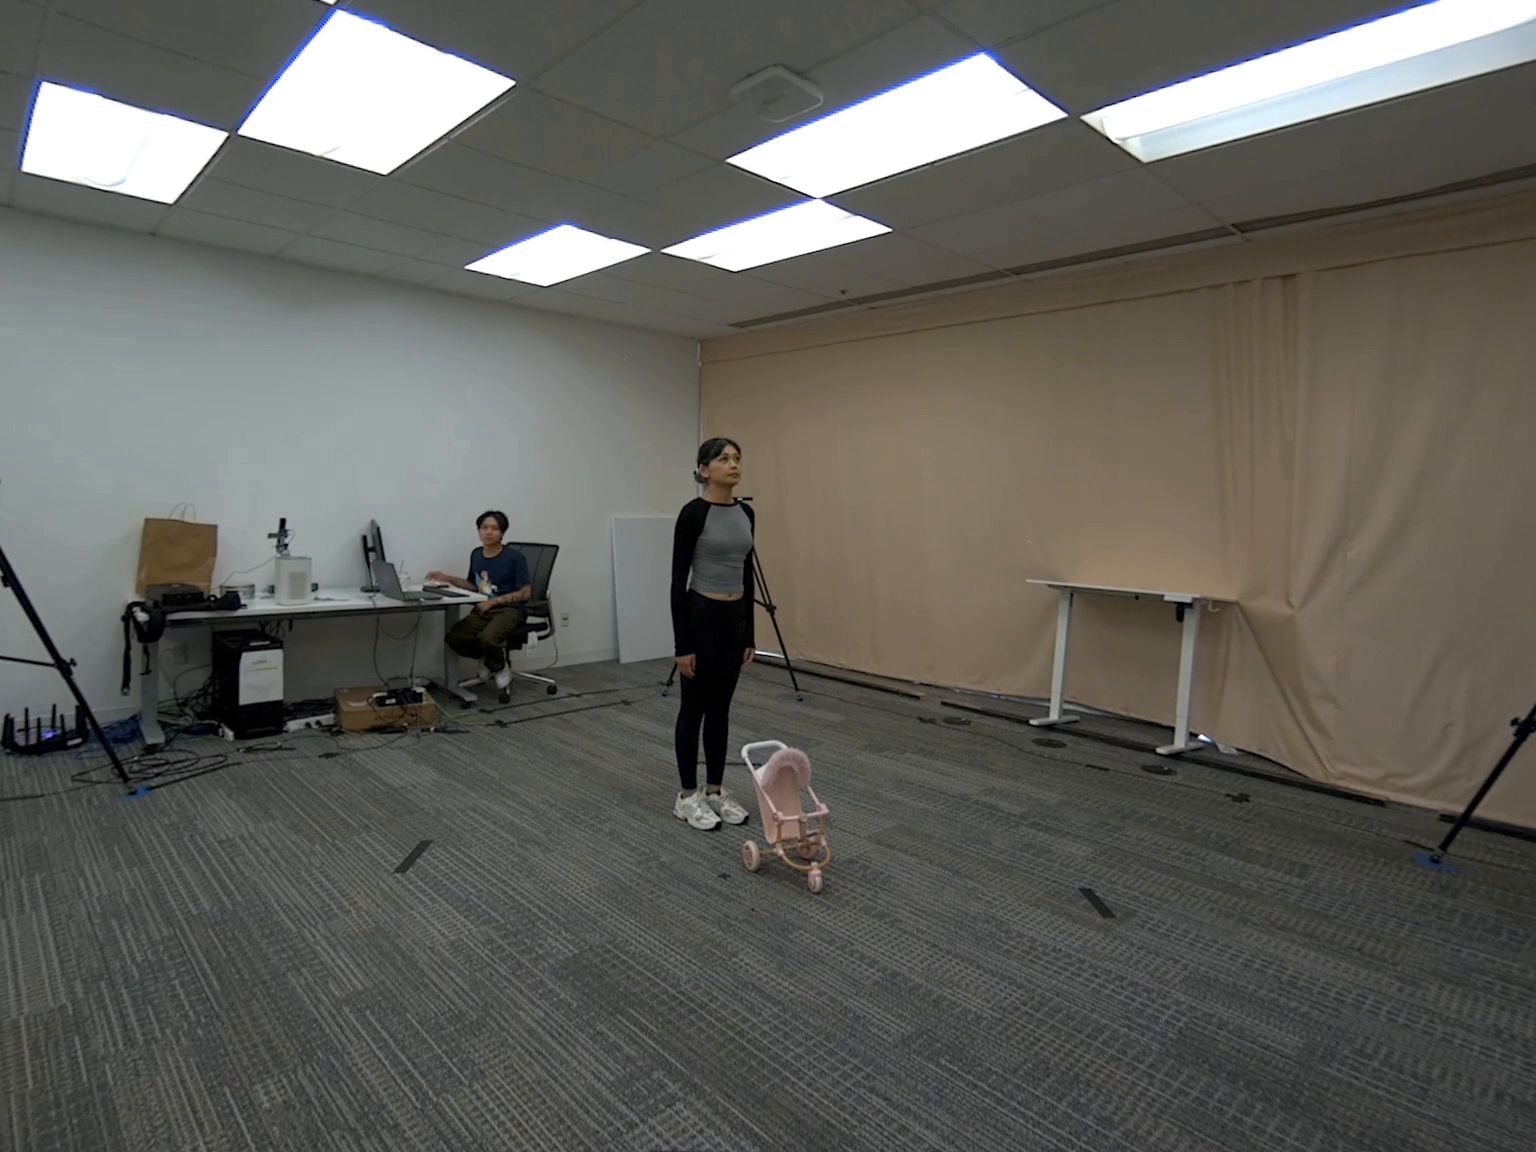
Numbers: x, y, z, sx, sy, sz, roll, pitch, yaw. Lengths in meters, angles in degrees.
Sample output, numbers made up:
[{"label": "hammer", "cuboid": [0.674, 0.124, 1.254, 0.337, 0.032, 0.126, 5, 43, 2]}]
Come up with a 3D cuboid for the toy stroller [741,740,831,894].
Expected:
[{"label": "toy stroller", "cuboid": [0.072, 0.884, 3.152, 0.276, 0.540, 0.344, 0, -14, -25]}]
